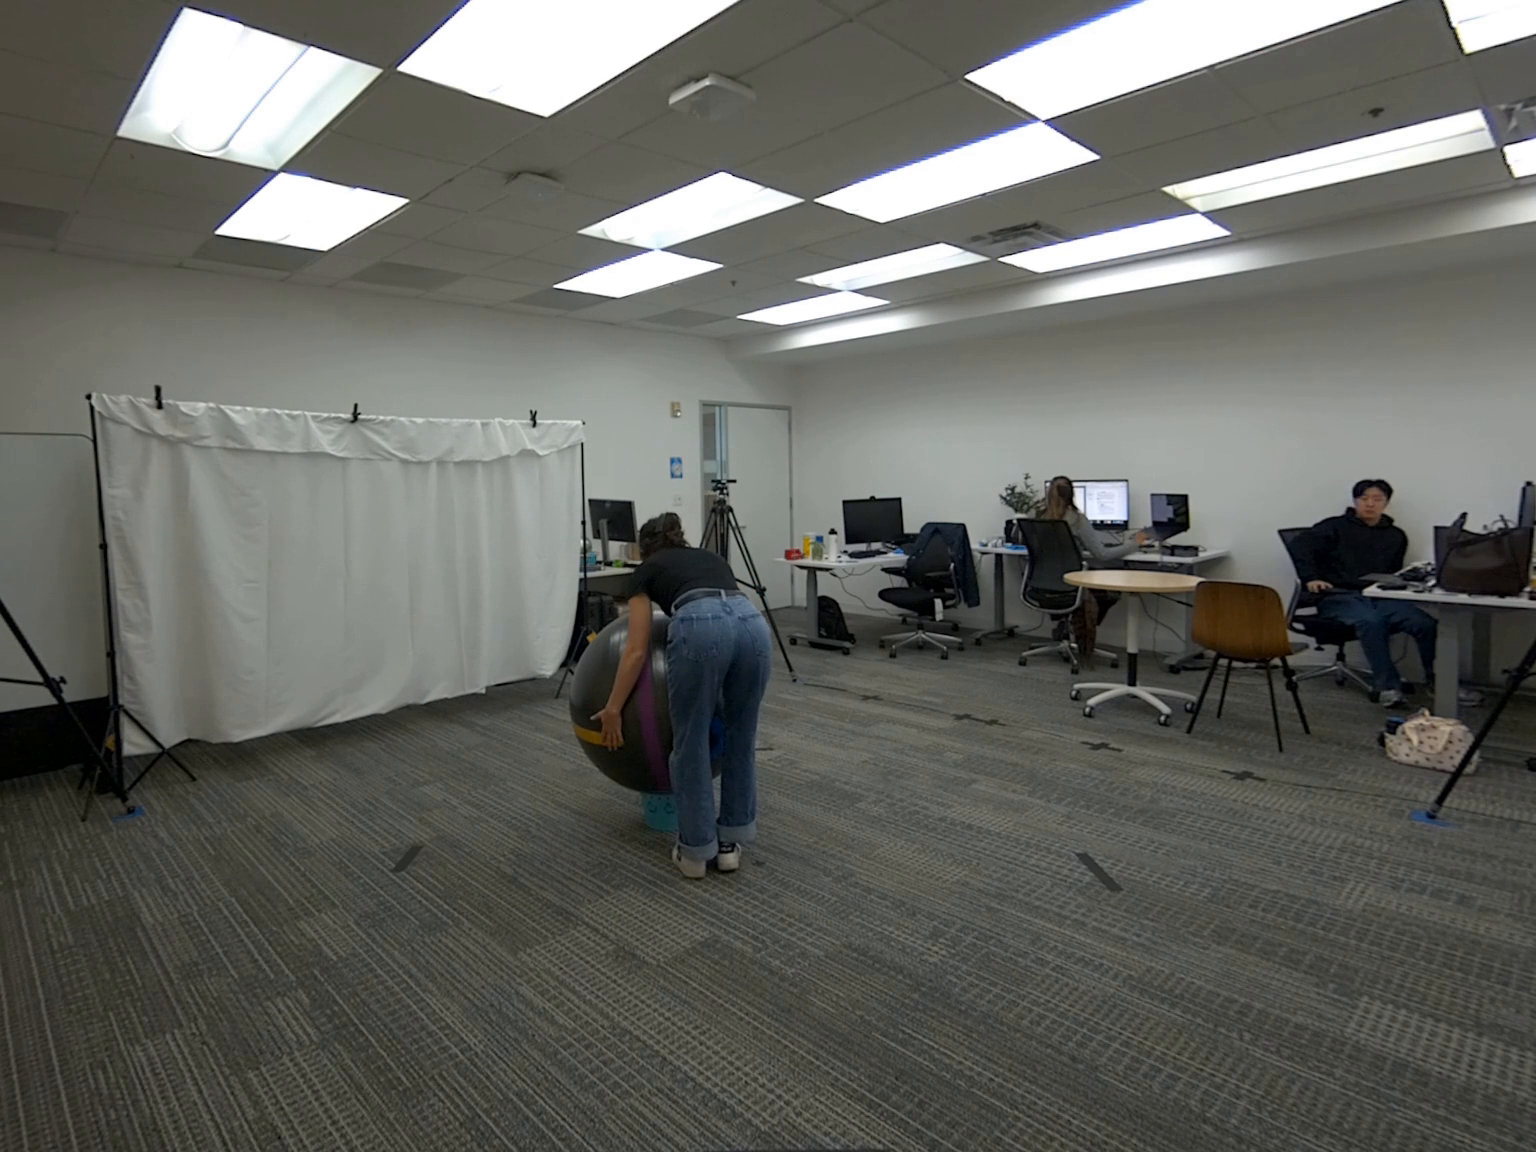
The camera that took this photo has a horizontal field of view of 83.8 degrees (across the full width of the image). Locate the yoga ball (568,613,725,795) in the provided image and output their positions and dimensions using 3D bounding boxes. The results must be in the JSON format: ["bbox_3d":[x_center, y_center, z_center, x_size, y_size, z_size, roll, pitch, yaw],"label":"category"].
[{"bbox_3d":[-0.432,0.497,3.502,0.757,0.755,0.762,-1,5,-2],"label":"yoga ball"}]
